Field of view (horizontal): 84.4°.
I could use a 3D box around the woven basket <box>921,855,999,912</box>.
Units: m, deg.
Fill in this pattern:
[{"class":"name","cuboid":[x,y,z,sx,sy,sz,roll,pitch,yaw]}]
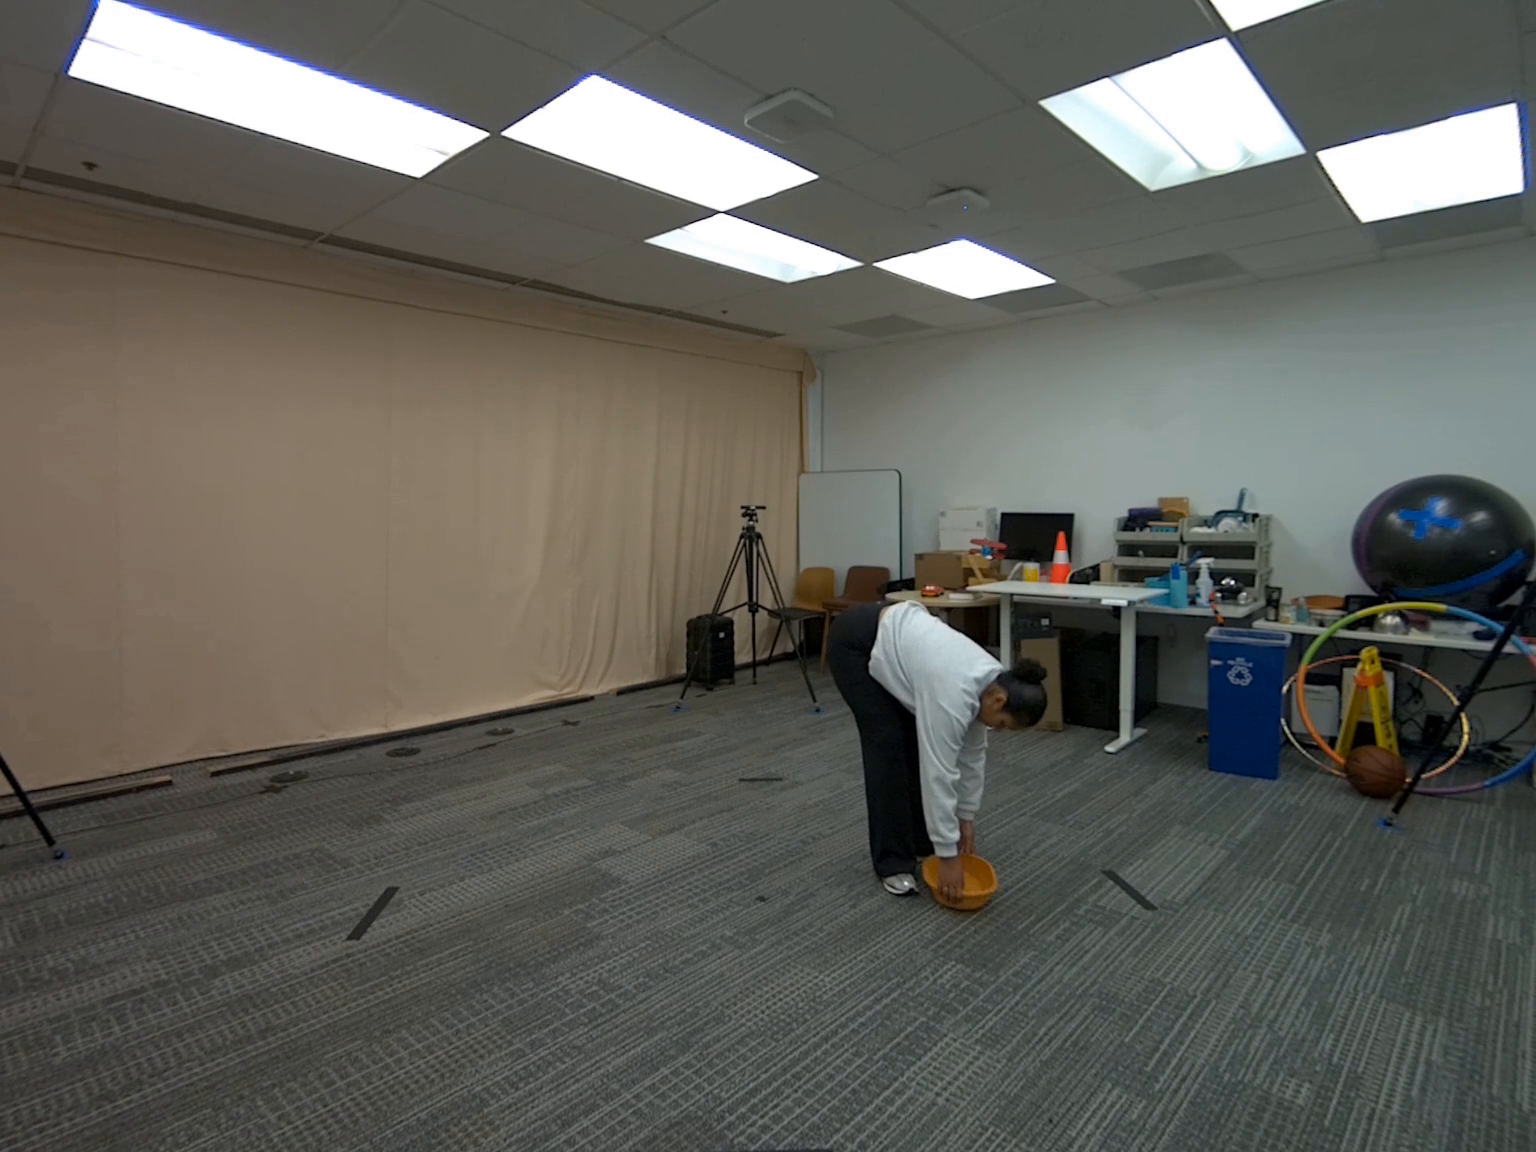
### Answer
[{"class":"woven basket","cuboid":[0.681,1.067,2.997,0.256,0.073,0.346,-2,6,13]}]
